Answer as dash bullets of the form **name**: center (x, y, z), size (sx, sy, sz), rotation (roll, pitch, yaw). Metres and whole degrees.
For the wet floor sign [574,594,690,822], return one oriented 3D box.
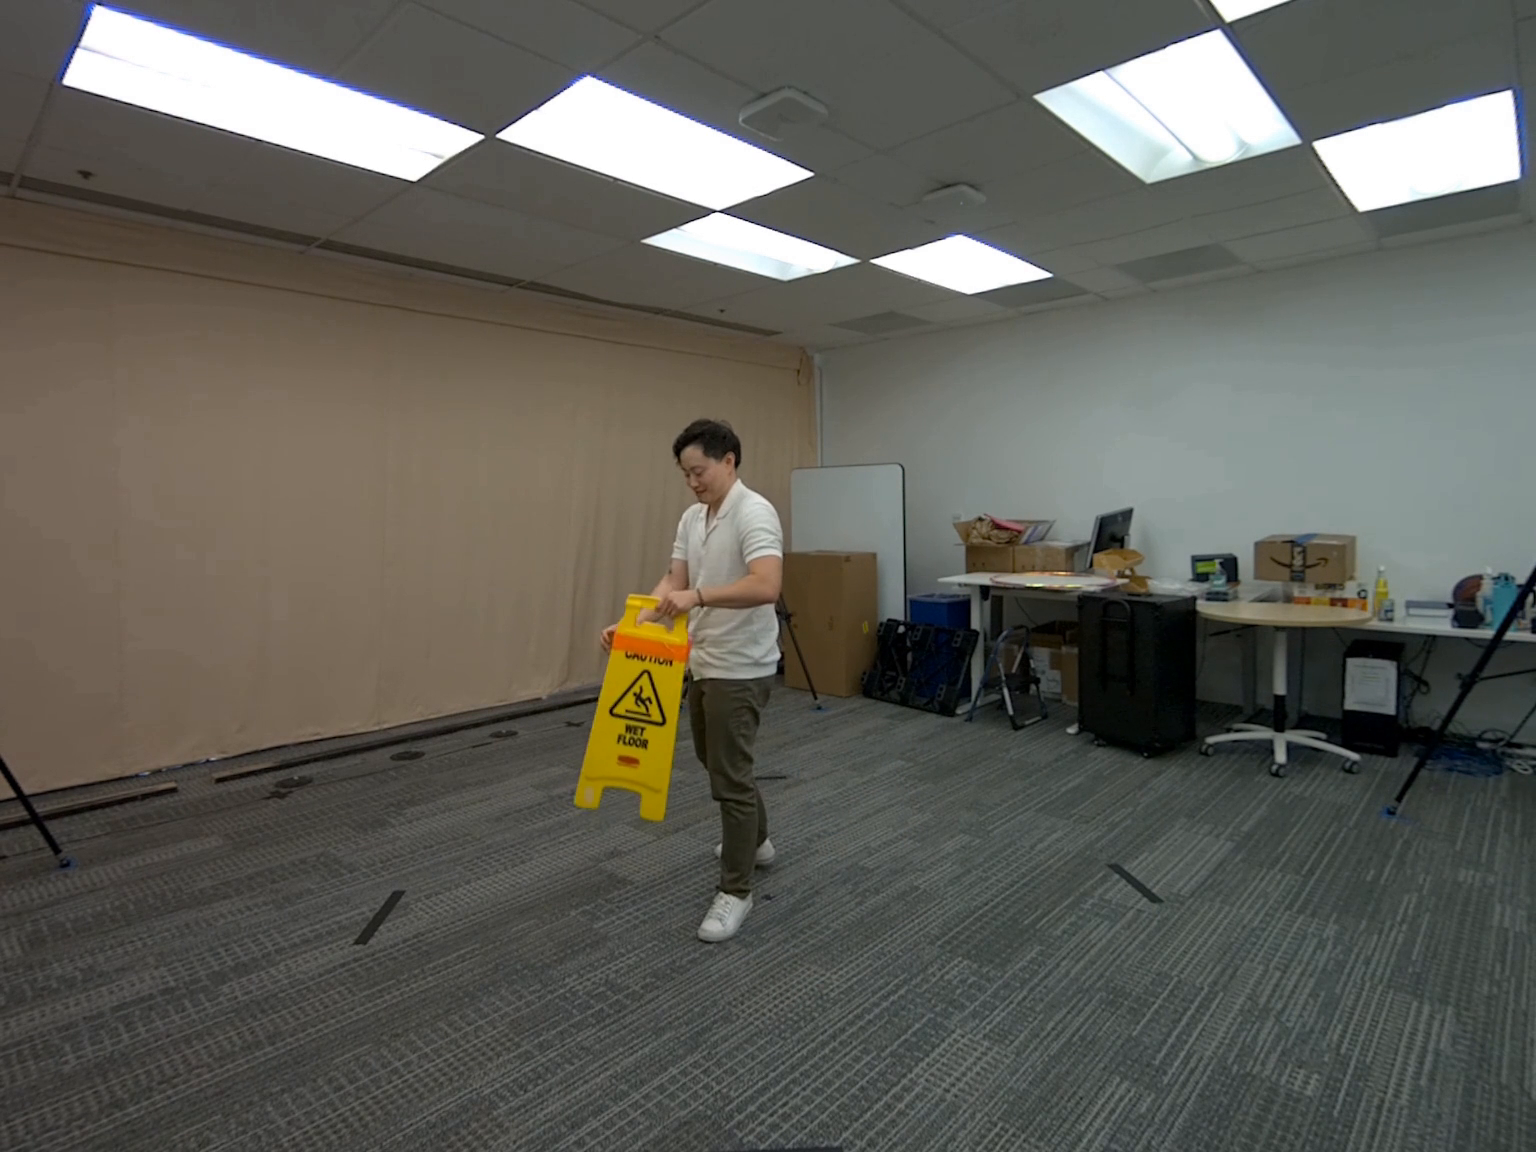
- **wet floor sign**: center (-0.396, 0.391, 2.666), size (0.283, 0.644, 0.290), rotation (11, 6, 0)
